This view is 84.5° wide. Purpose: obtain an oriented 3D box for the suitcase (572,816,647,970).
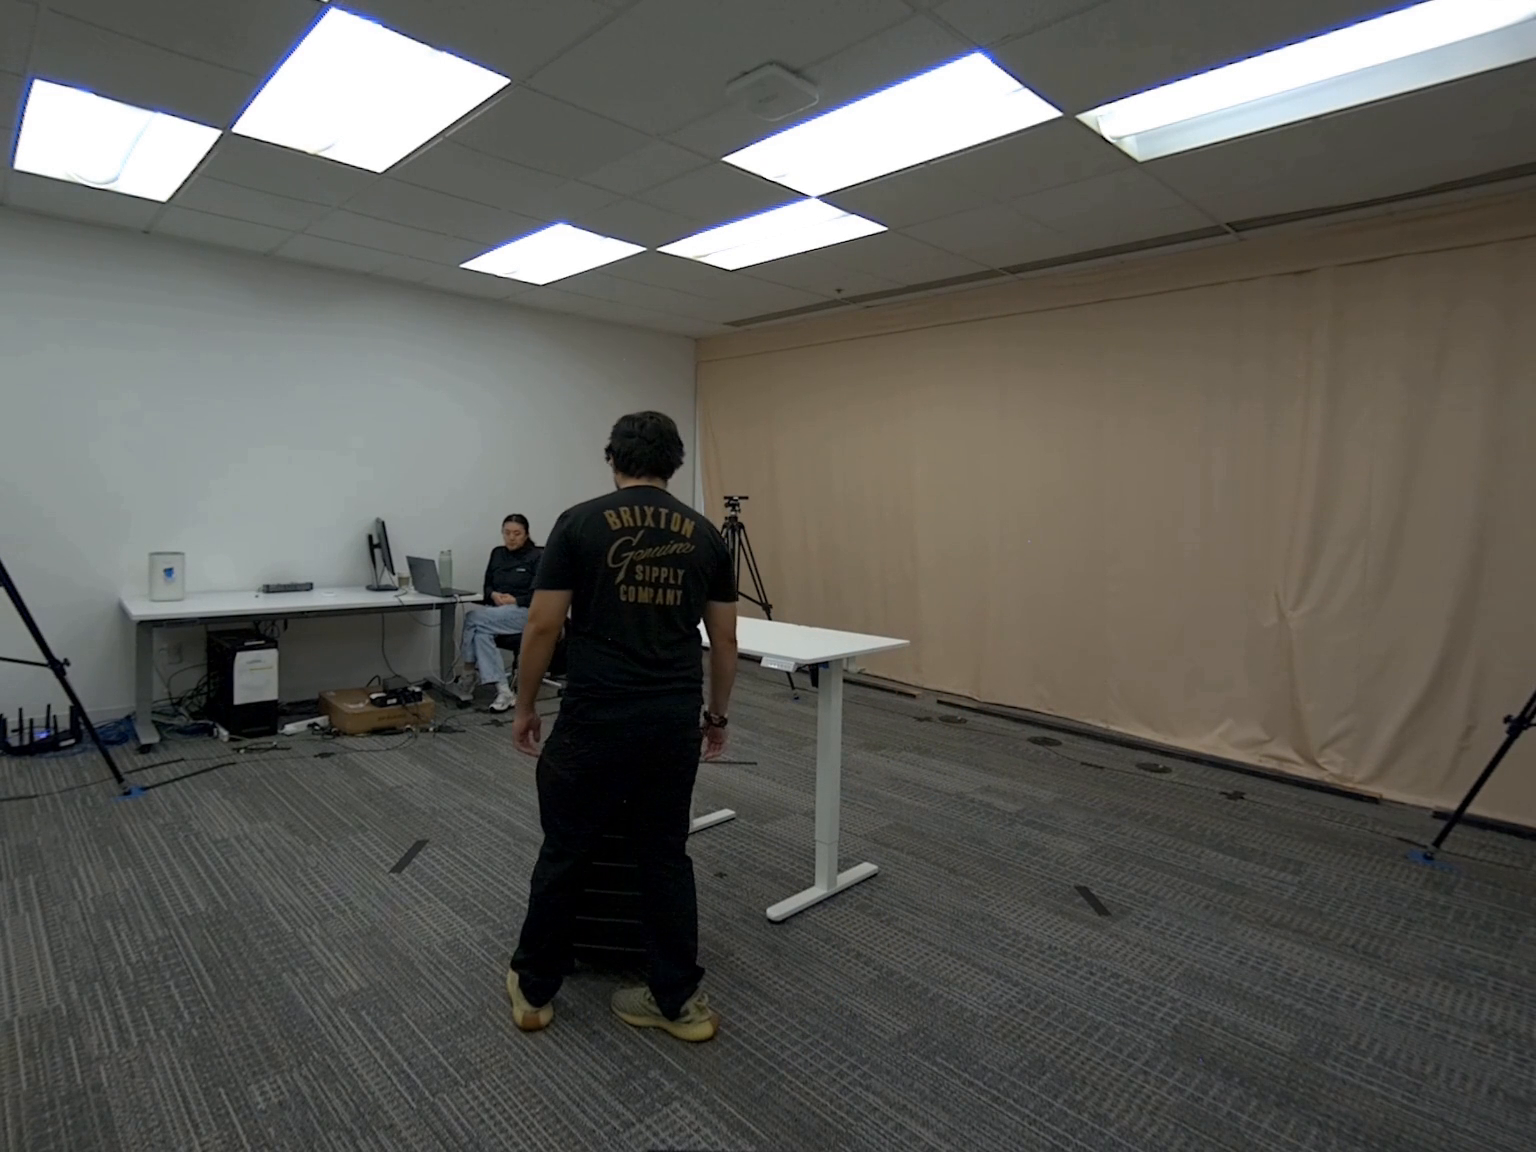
[{"bbox_3d":[-0.443,0.881,2.499,0.377,0.547,0.248,1,6,4],"label":"suitcase"}]
